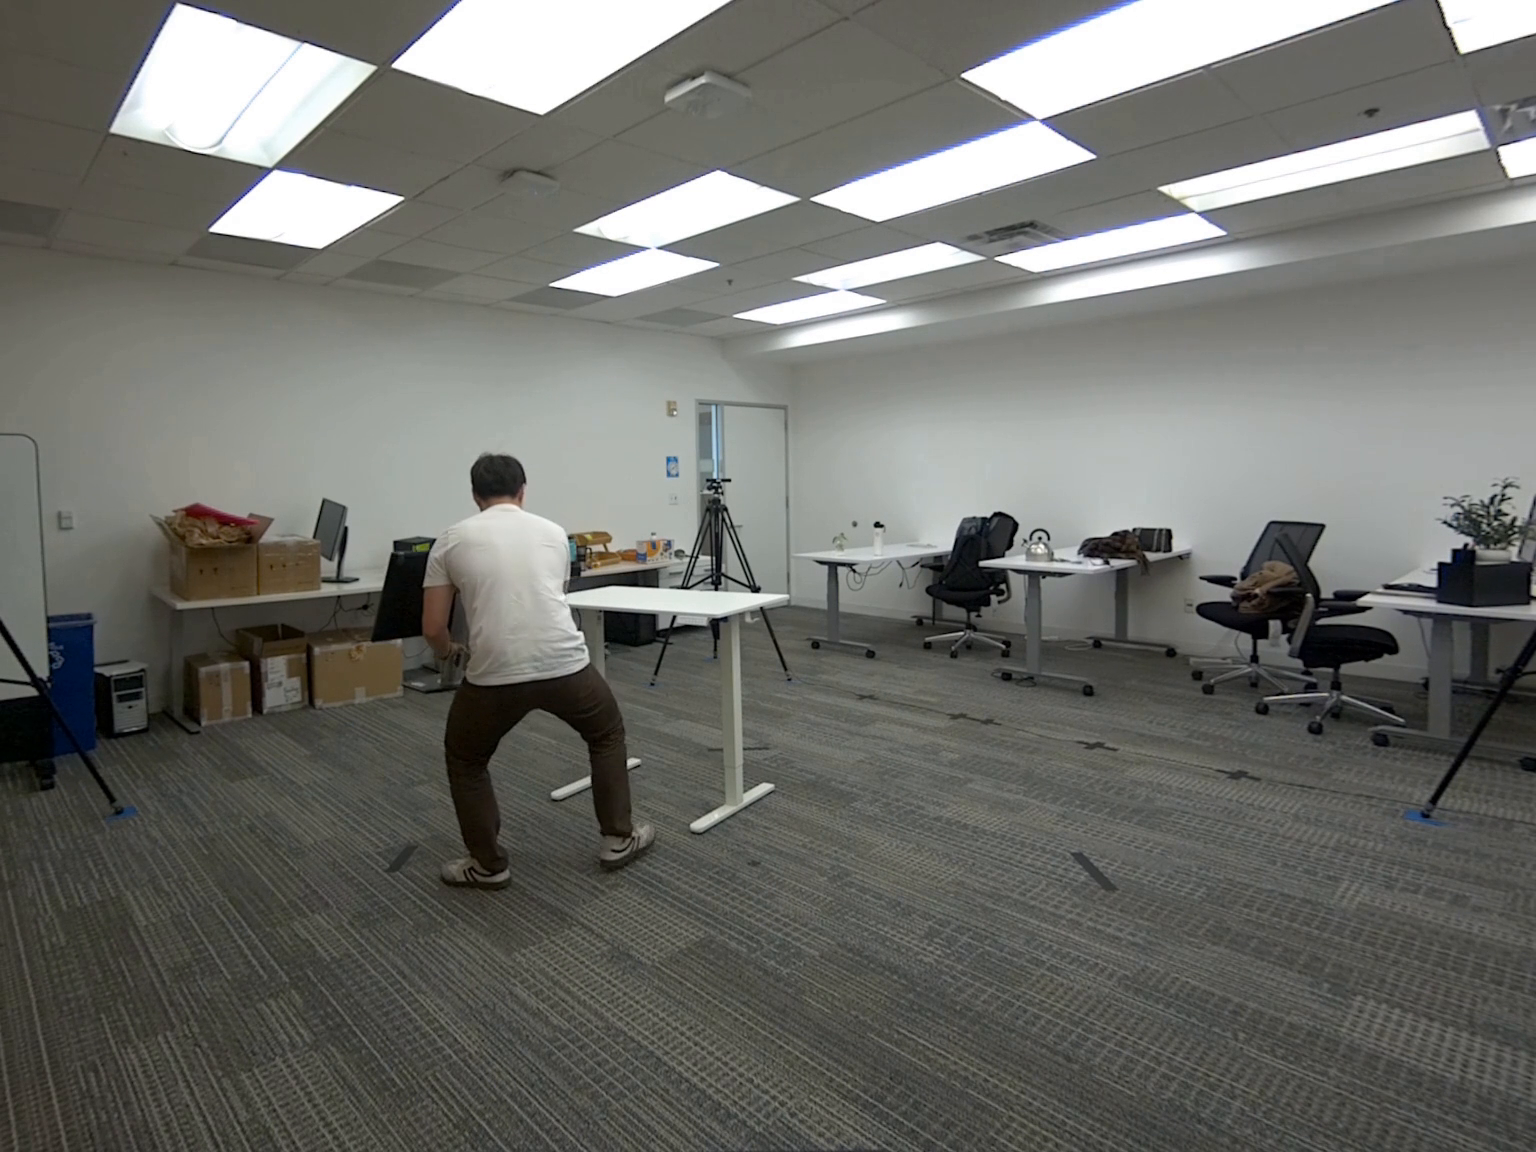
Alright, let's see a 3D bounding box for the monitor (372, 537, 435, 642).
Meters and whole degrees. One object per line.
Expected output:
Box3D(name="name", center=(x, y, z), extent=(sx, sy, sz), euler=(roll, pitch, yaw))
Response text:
Box3D(name="monitor", center=(-1.157, 0.157, 3.159), extent=(0.193, 0.519, 0.526), euler=(14, 11, 31))
